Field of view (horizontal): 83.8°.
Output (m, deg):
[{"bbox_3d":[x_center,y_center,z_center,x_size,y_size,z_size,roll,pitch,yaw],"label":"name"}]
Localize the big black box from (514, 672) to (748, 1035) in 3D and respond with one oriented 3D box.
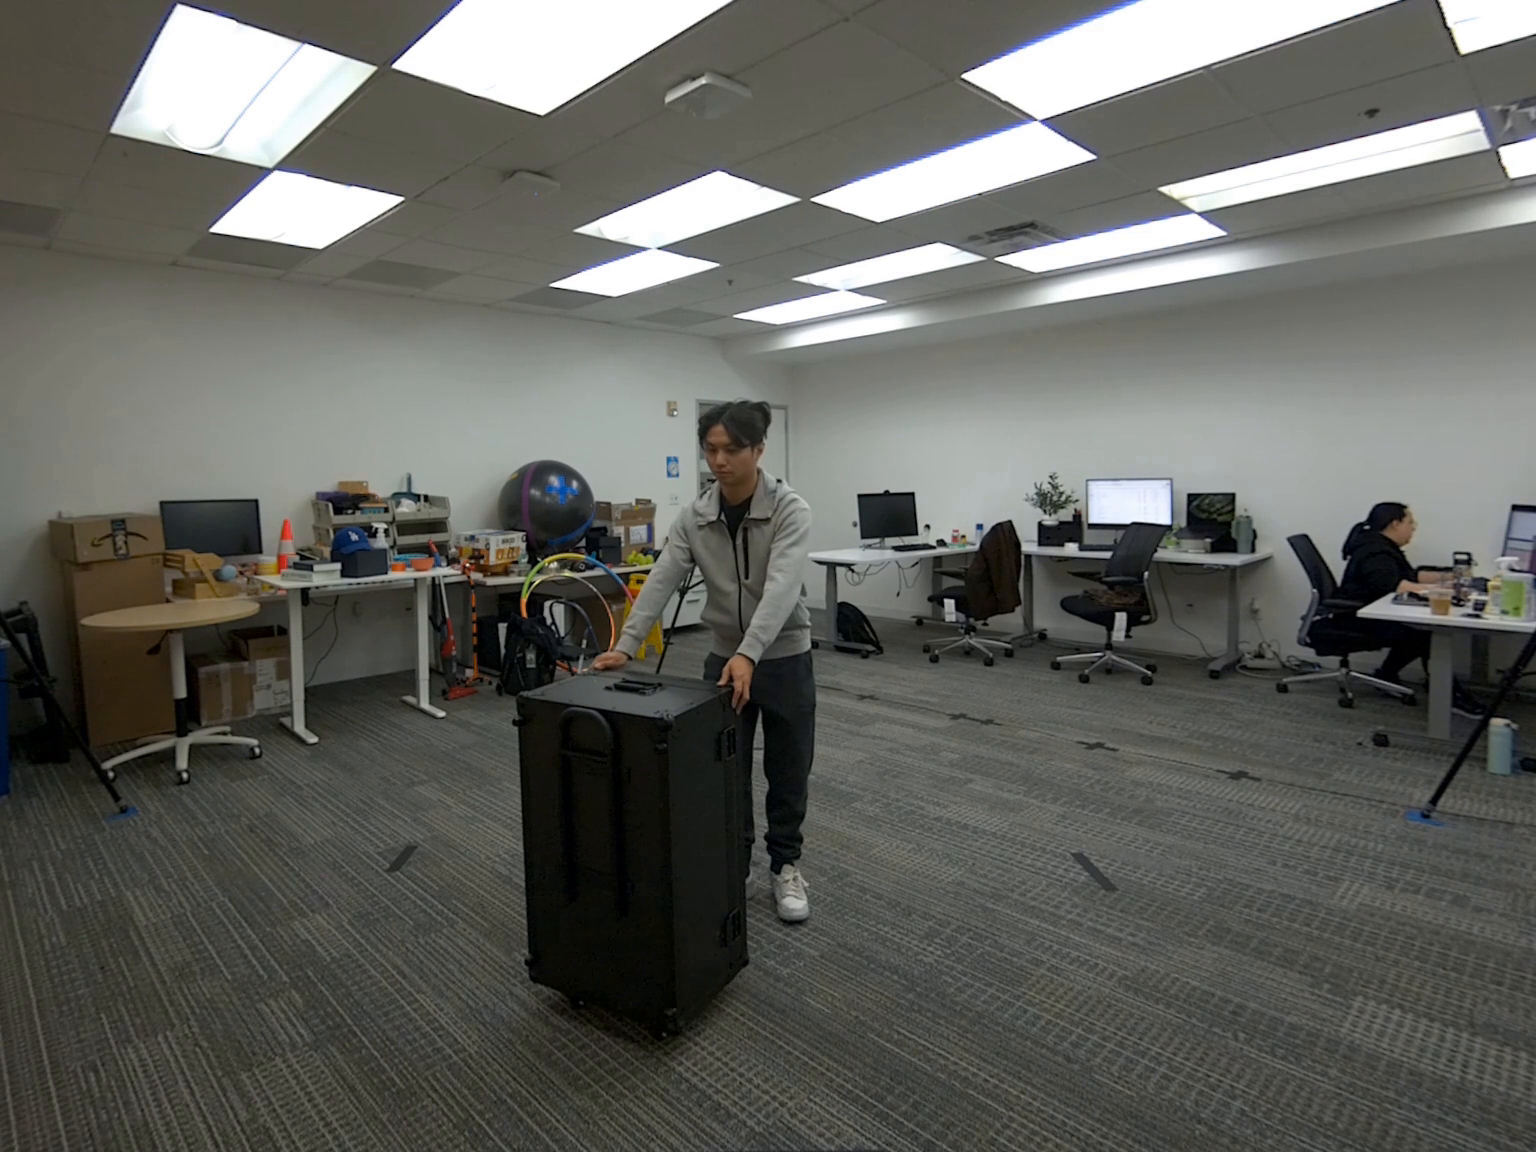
[{"bbox_3d":[-0.353,0.722,2.282,0.535,0.858,0.388,1,6,30],"label":"big black box"}]
